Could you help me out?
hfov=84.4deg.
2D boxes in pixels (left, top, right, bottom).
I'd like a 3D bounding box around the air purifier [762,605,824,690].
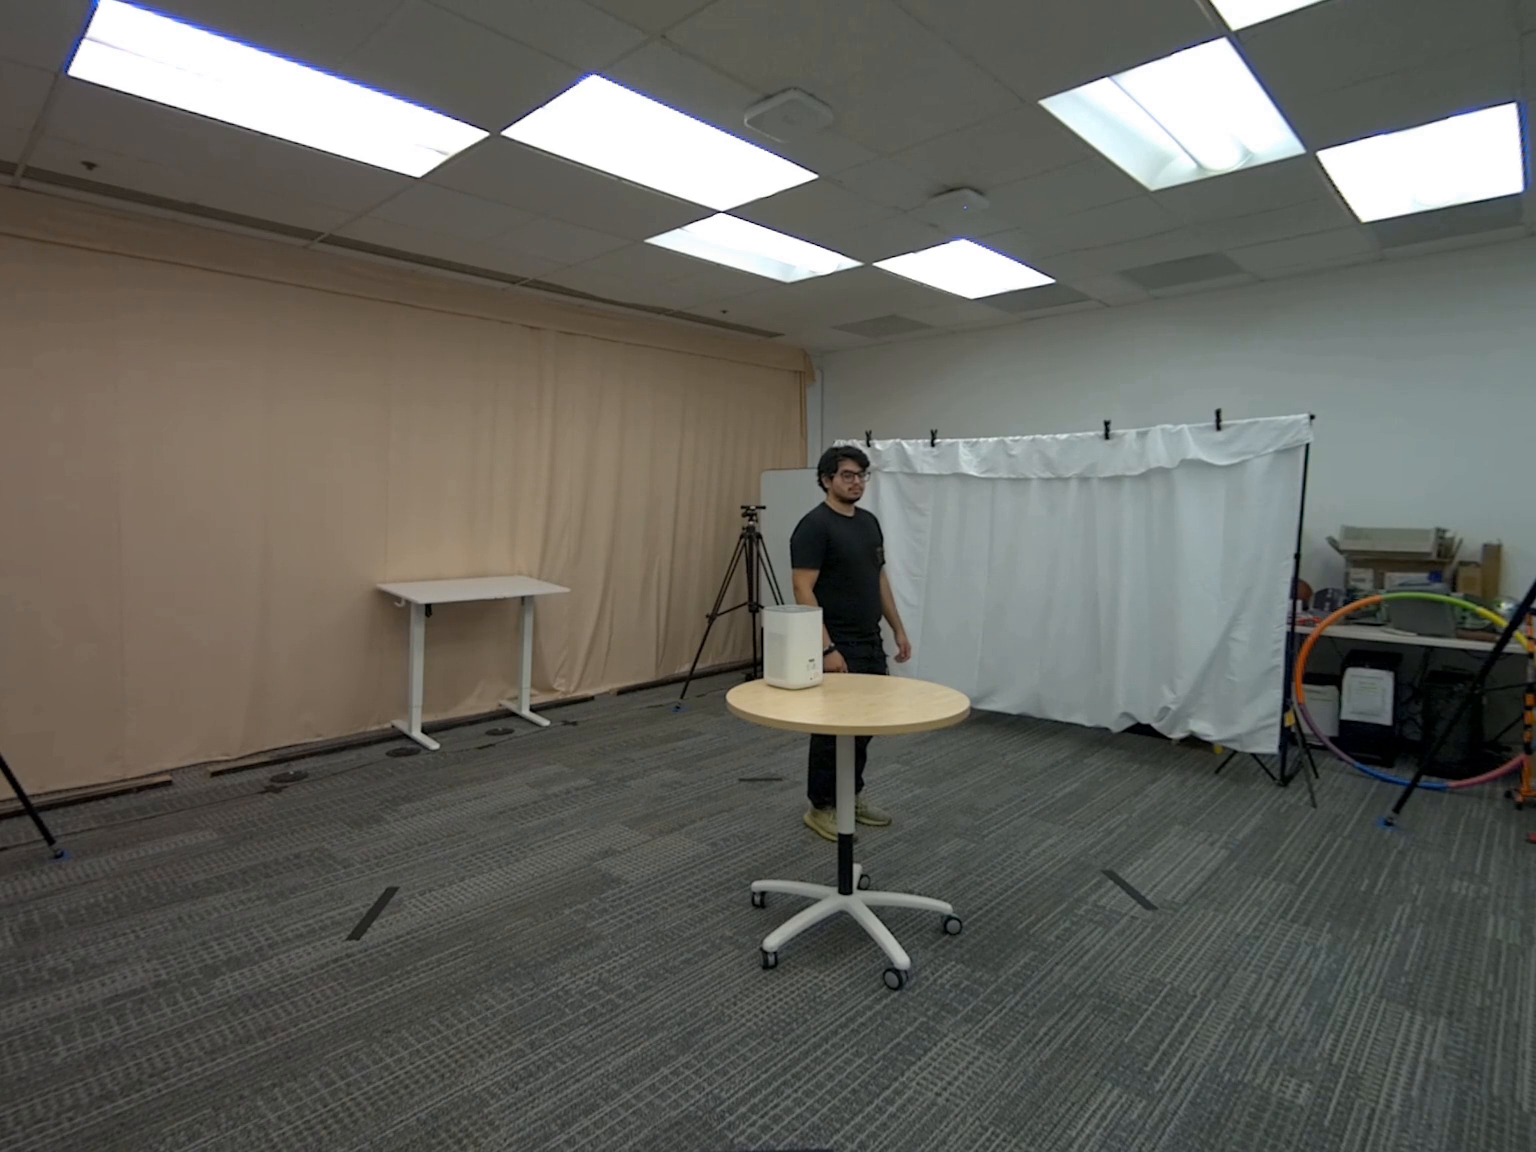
[{"bbox_3d":[0.087,0.240,2.866,0.166,0.265,0.177,-4,4,-41],"label":"air purifier"}]
